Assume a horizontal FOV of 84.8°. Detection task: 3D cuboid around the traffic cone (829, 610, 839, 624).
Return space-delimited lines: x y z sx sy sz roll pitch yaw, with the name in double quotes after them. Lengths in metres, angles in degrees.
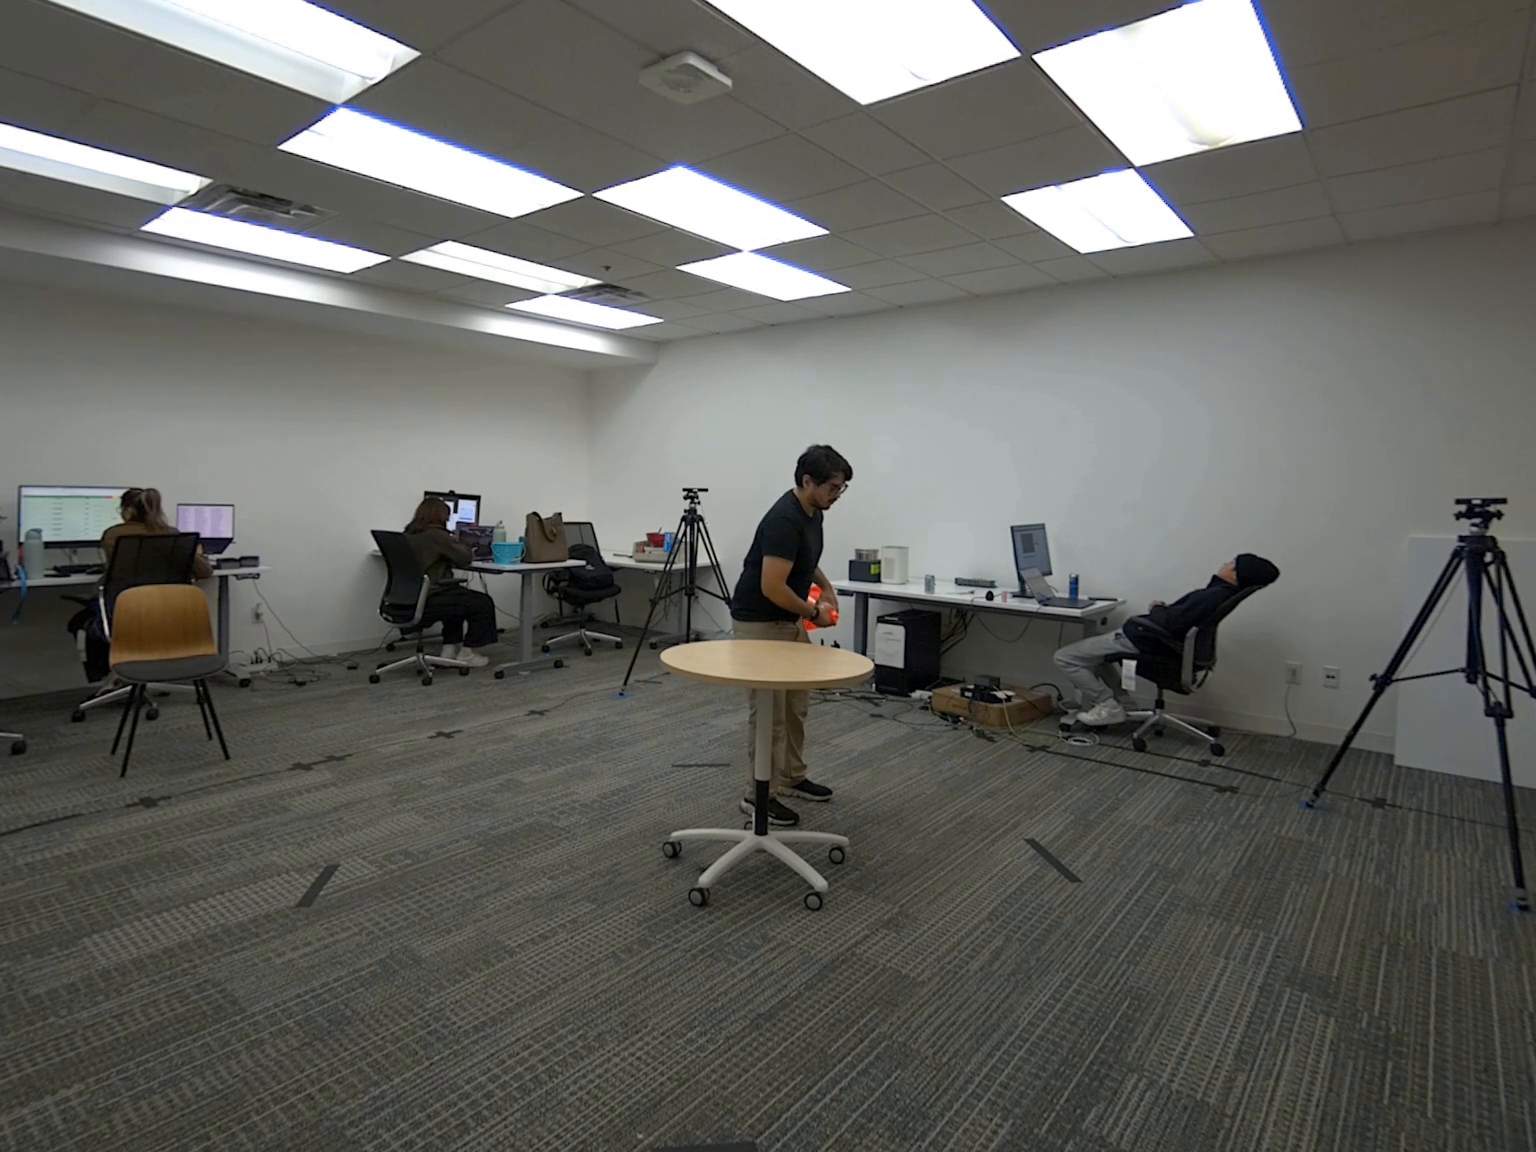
0.226 0.170 3.781 0.202 0.203 0.389 -15 9 -7 "traffic cone"
